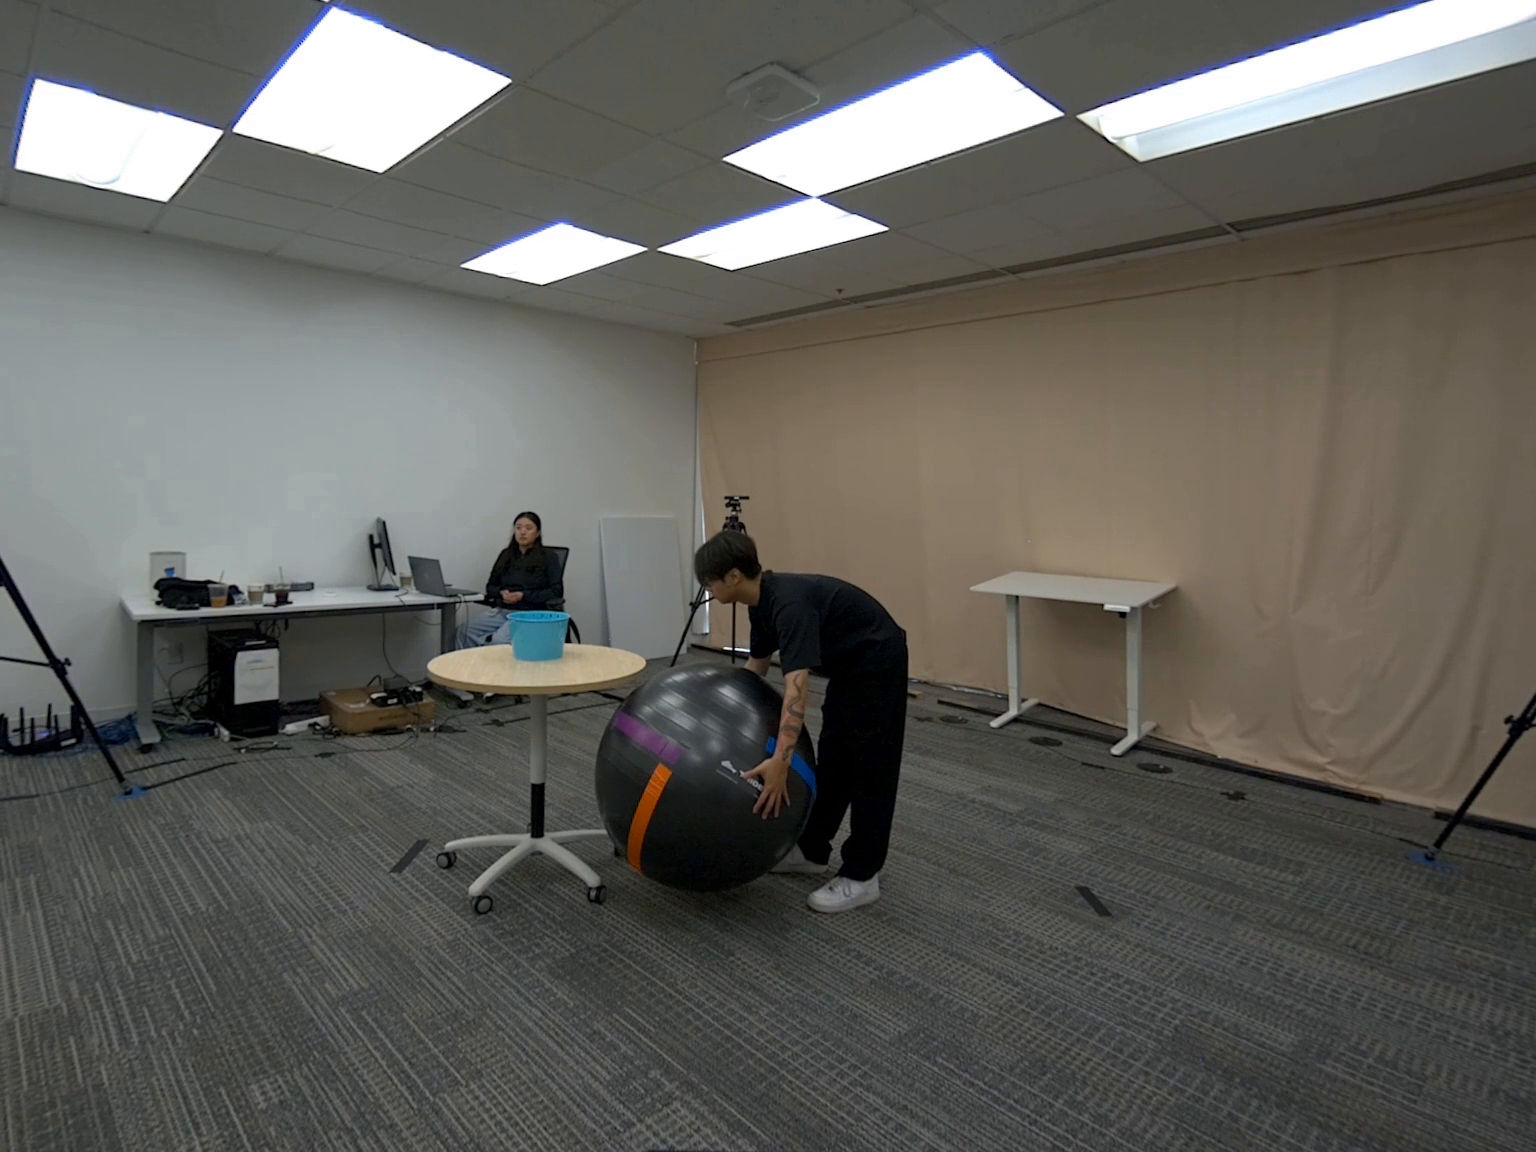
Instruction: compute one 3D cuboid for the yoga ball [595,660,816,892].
[{"bbox_3d":[-0.212,0.692,2.886,0.757,0.756,0.761,1,4,-1],"label":"yoga ball"}]
